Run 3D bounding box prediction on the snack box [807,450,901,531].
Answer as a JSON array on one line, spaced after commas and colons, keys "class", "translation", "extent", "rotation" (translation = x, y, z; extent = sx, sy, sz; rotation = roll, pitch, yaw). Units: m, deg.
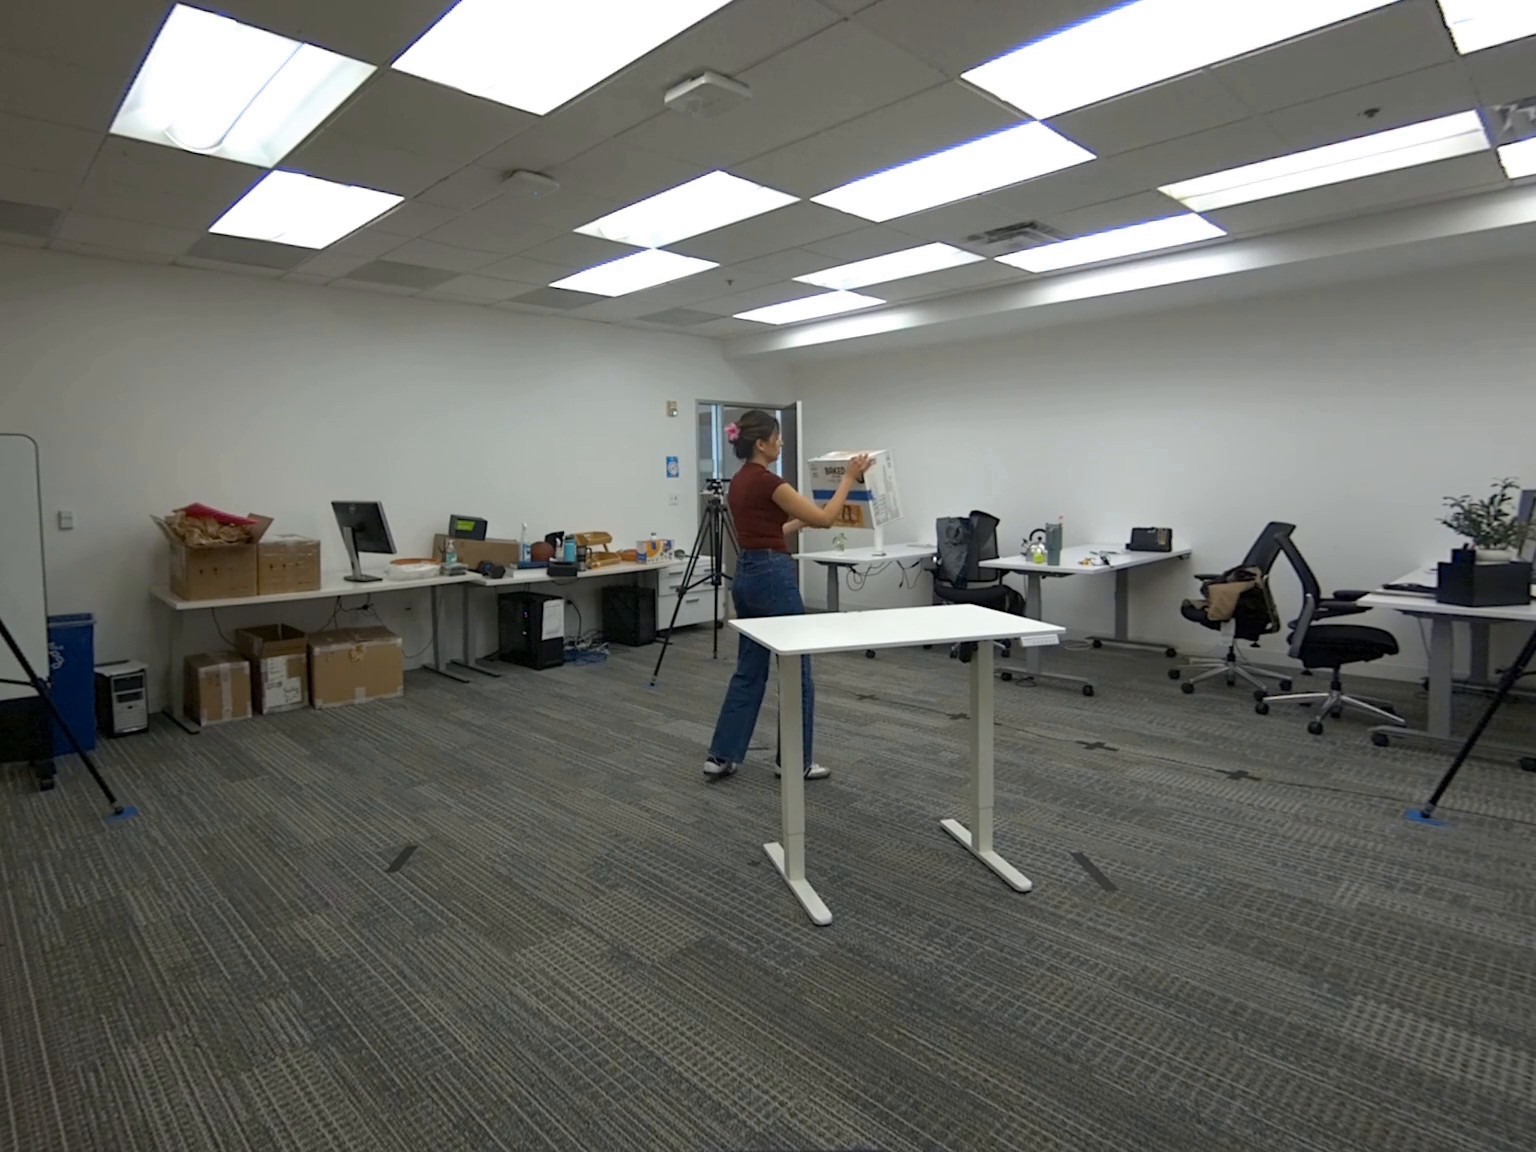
[{"class": "snack box", "translation": [0.411, -0.427, 4.178], "extent": [0.202, 0.336, 0.417], "rotation": [-21, 16, -32]}]
